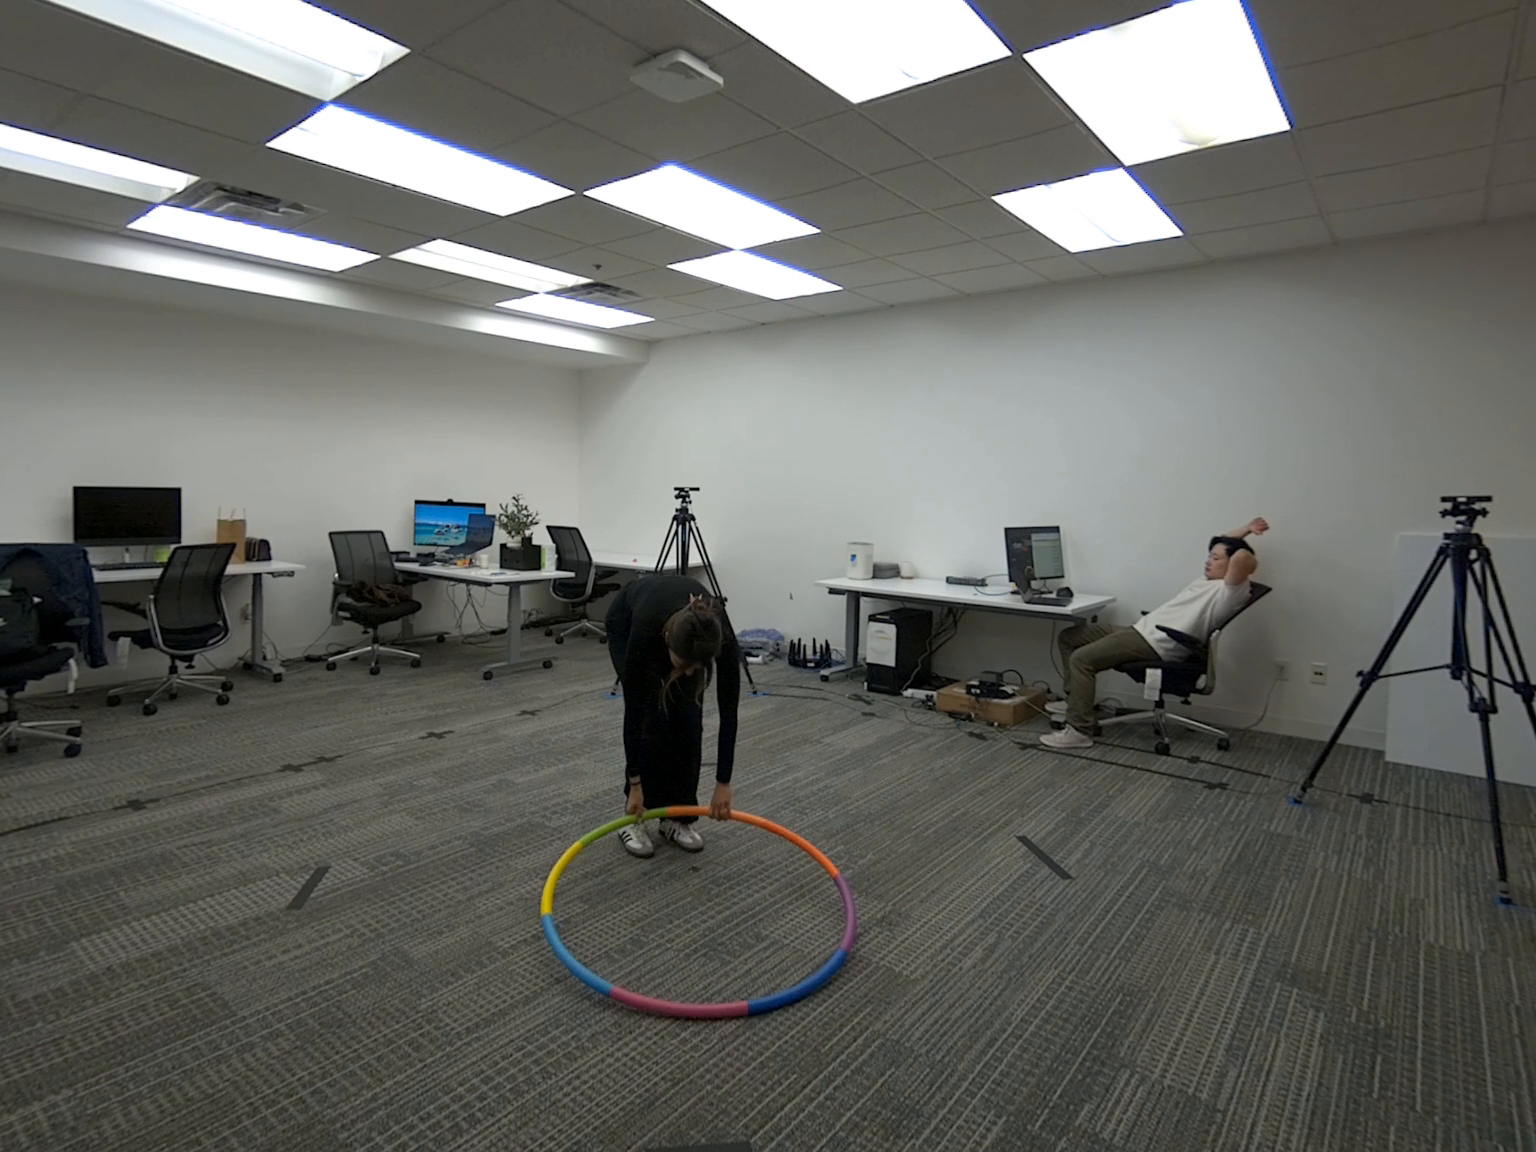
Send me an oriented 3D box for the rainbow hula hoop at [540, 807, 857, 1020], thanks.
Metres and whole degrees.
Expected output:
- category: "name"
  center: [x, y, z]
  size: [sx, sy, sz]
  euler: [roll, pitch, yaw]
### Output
- category: "rainbow hula hoop"
  center: [-0.218, 1.000, 2.689]
  size: [0.977, 0.035, 0.993]
  euler: [3, 16, -3]
